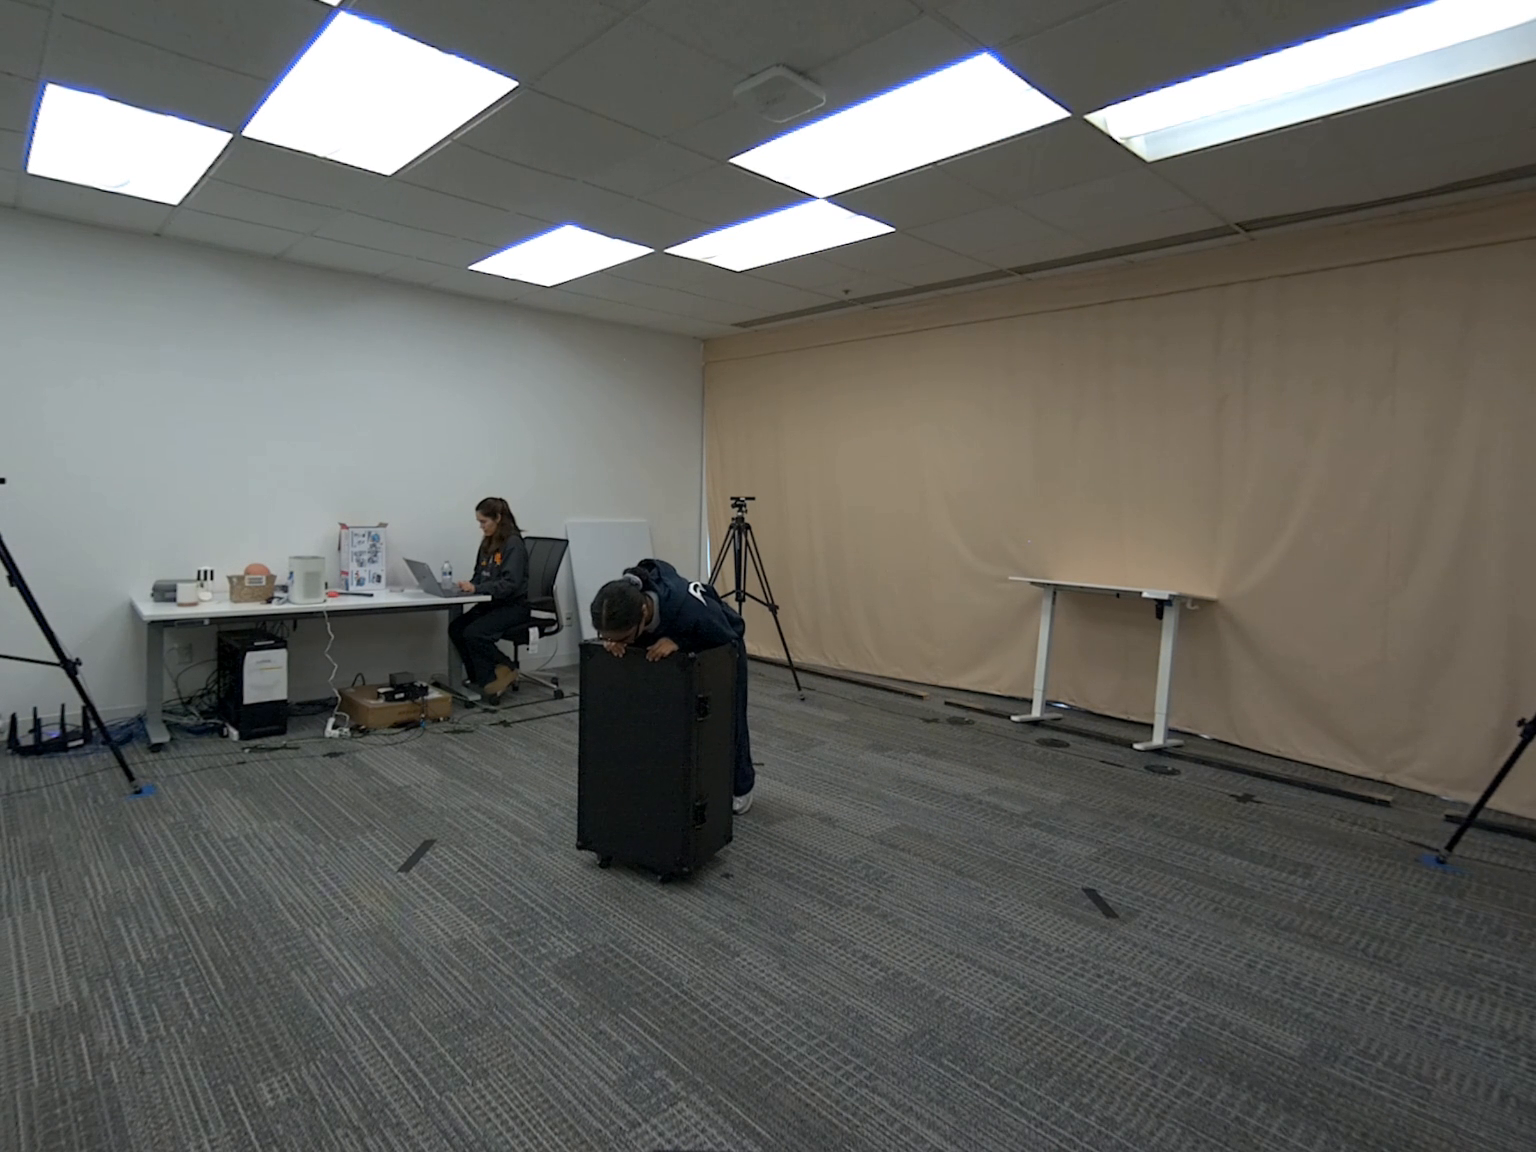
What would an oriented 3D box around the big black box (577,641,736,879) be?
[{"bbox_3d":[-0.423,0.672,3.185,0.531,0.860,0.389,3,3,24],"label":"big black box"}]
